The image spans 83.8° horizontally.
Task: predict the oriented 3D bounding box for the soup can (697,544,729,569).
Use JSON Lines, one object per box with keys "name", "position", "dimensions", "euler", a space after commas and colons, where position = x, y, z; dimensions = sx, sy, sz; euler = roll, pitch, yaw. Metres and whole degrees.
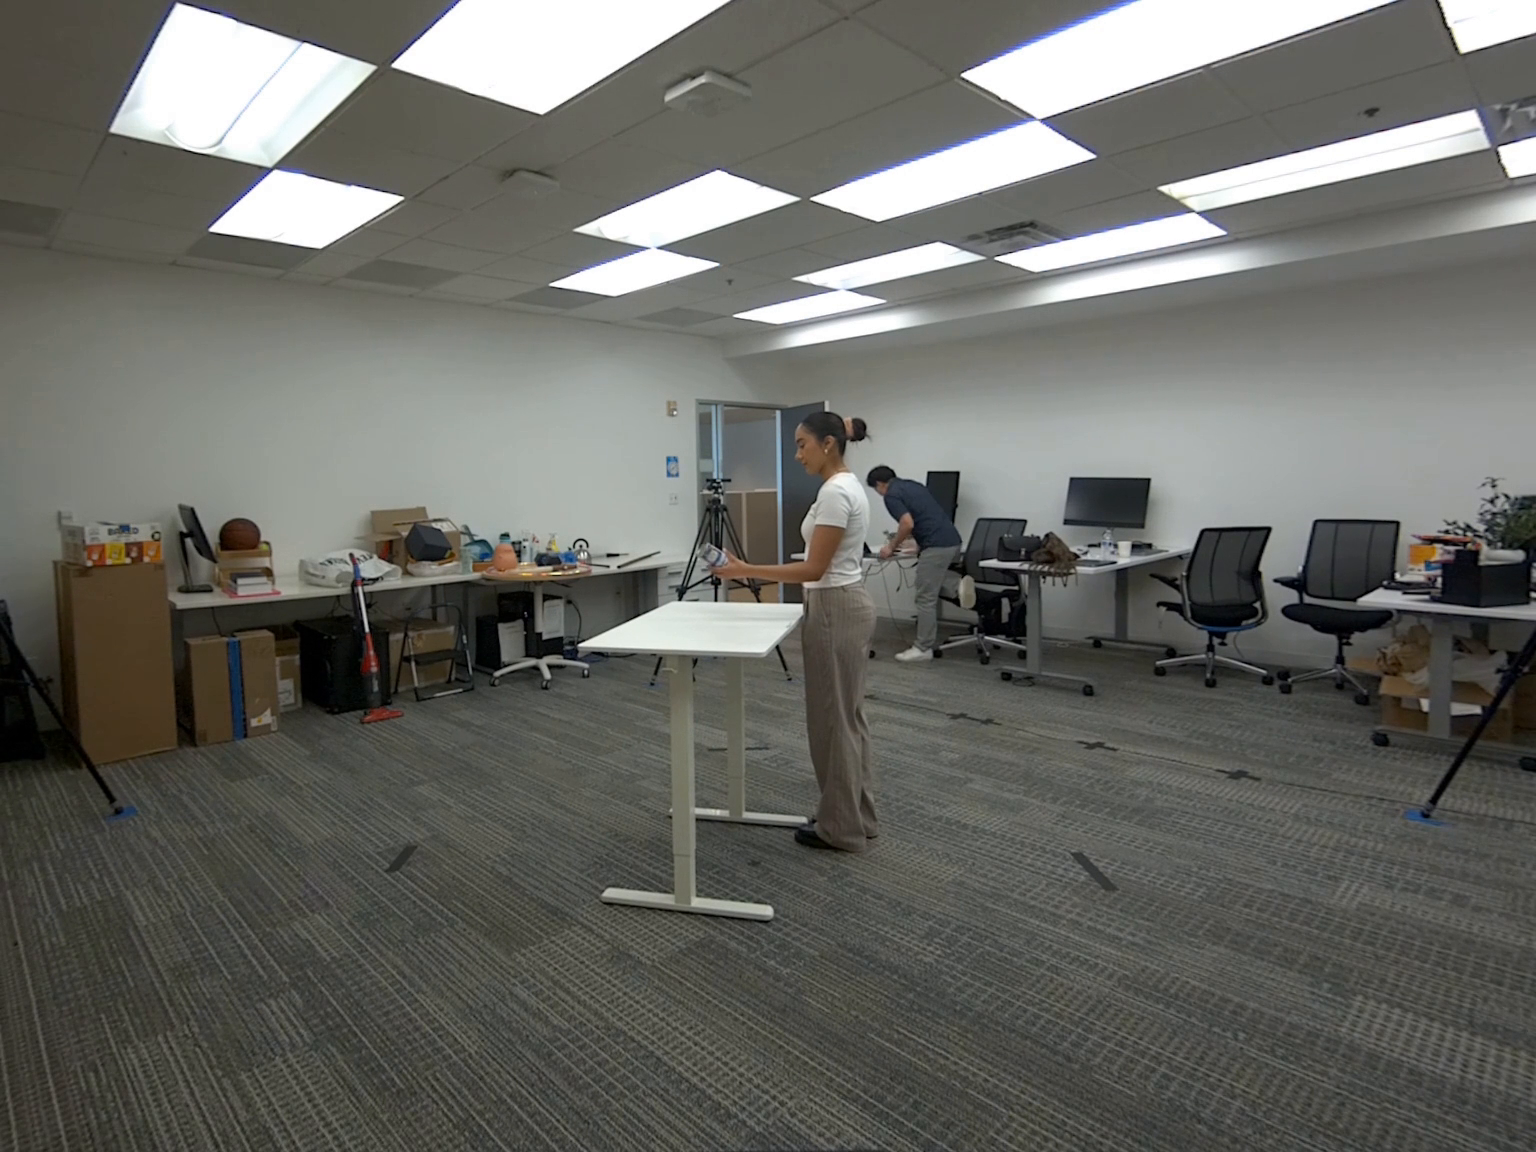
{"name": "soup can", "position": [-0.195, -0.071, 3.110], "dimensions": [0.119, 0.067, 0.068], "euler": [32, -6, -16]}
